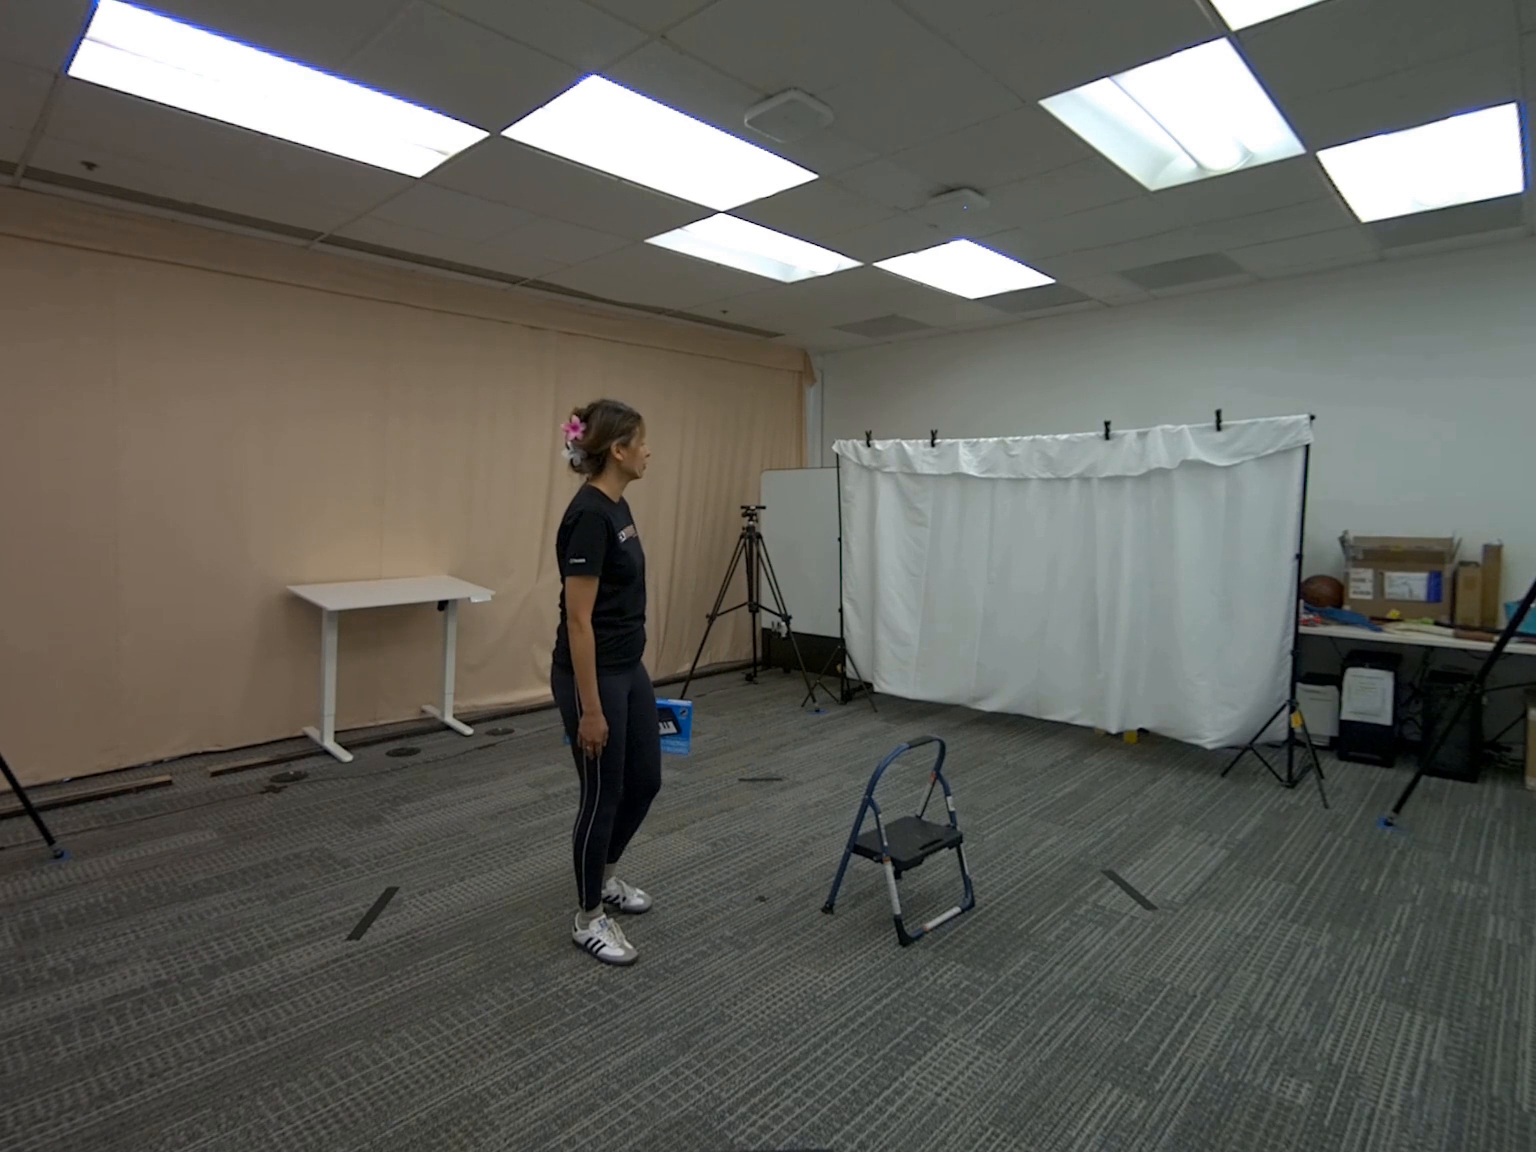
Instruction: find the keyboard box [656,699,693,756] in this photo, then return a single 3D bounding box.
[{"bbox_3d":[-0.482,0.506,2.921,0.438,0.175,0.059,3,4,2],"label":"keyboard box"}]
